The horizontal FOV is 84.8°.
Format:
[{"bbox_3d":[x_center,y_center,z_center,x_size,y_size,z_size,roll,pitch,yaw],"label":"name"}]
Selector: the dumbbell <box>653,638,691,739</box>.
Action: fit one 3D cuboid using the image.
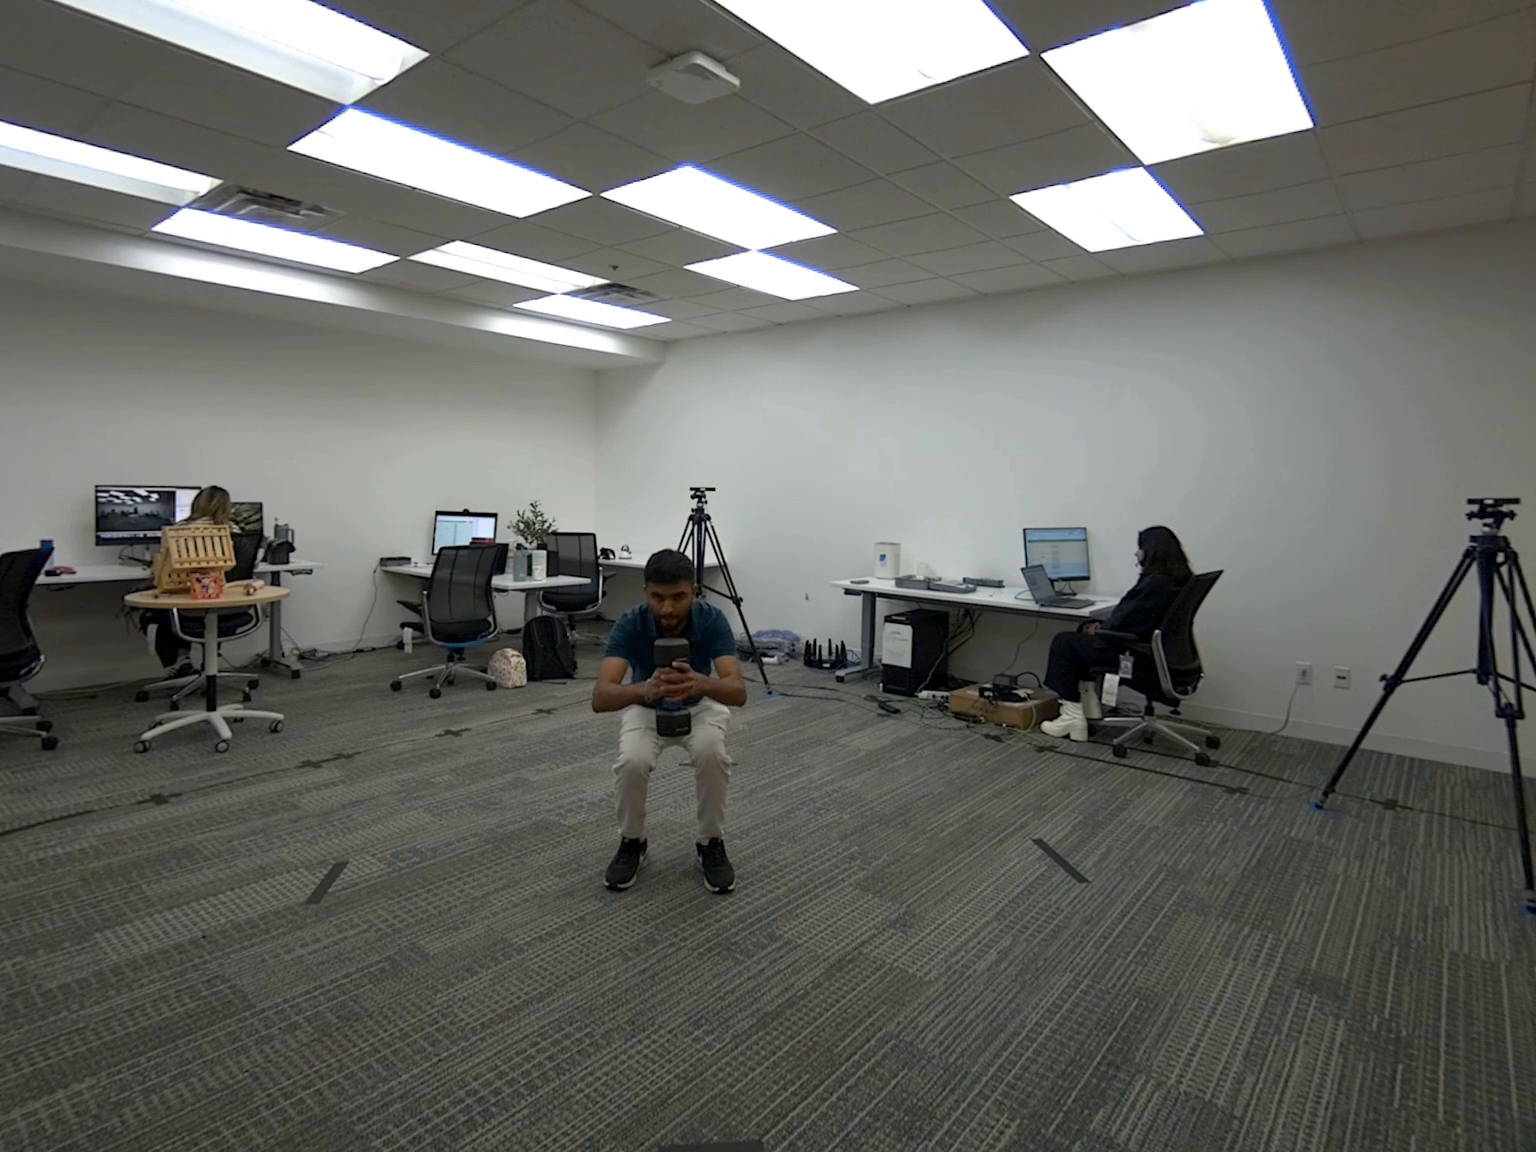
[{"bbox_3d":[-0.308,0.332,2.633,0.125,0.294,0.106,-2,-1,19],"label":"dumbbell"}]
